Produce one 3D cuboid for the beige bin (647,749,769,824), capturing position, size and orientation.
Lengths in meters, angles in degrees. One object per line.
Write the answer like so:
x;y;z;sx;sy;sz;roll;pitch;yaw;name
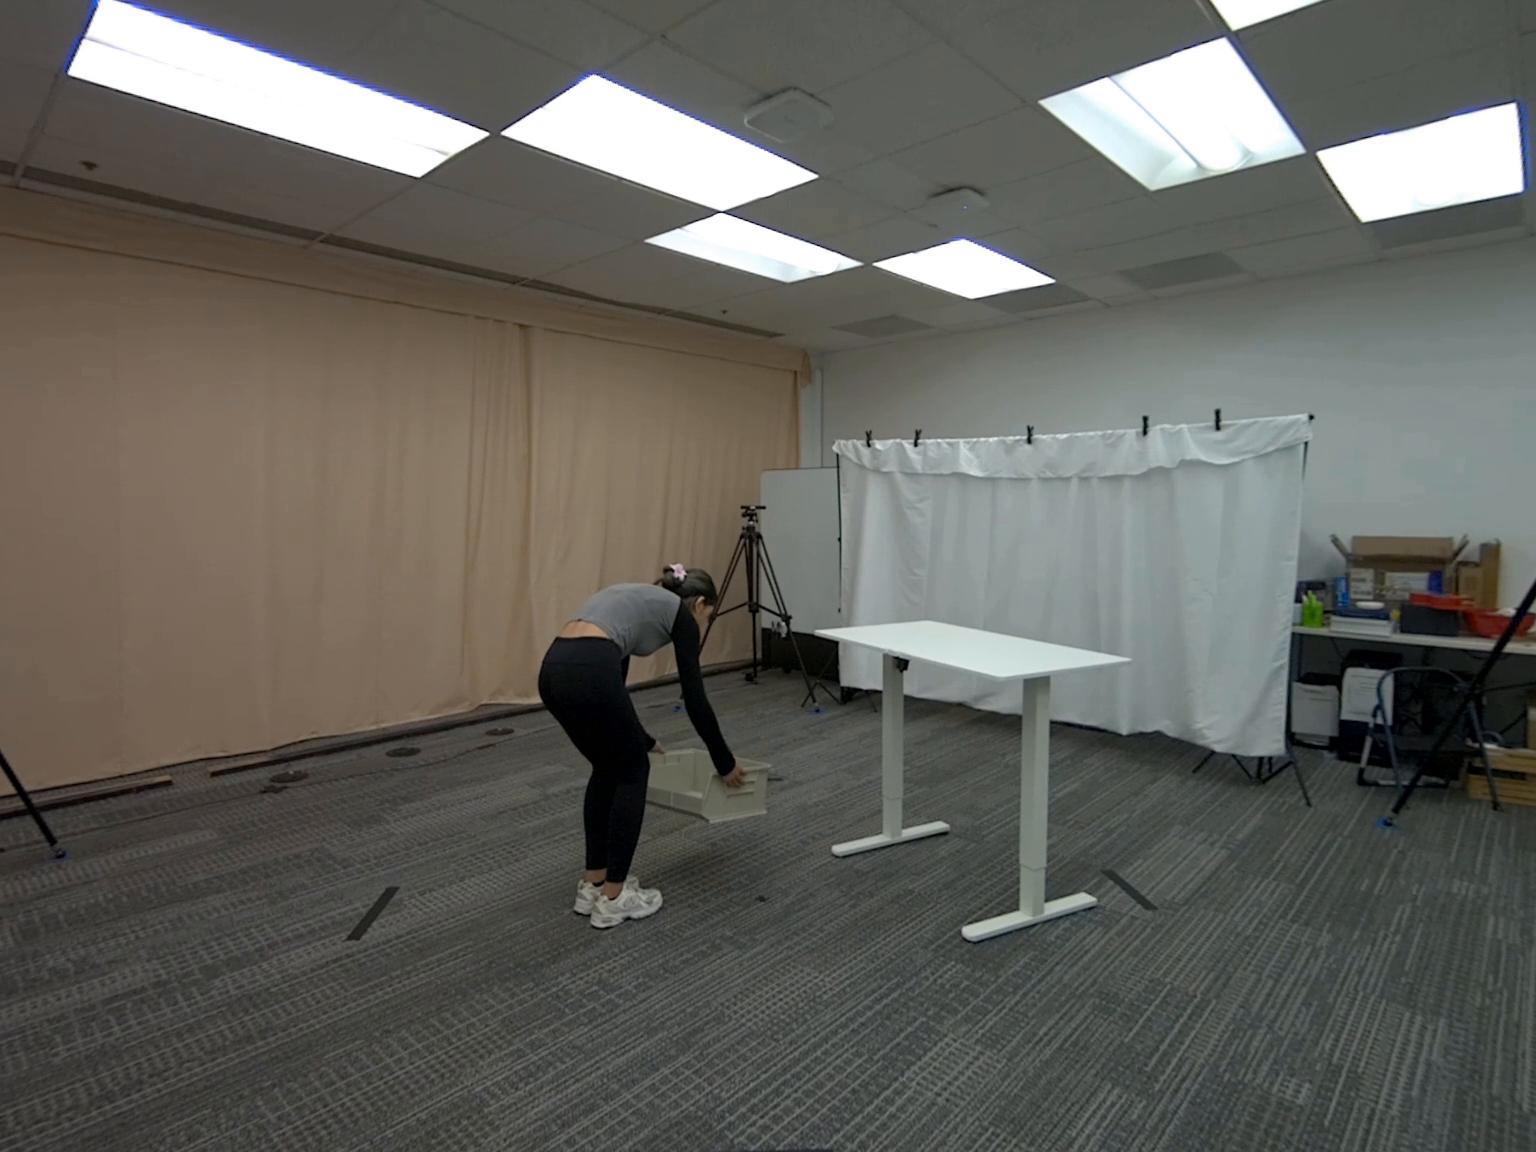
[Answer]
-0.266;0.783;3.174;0.436;0.189;0.364;0;-7;41;beige bin
